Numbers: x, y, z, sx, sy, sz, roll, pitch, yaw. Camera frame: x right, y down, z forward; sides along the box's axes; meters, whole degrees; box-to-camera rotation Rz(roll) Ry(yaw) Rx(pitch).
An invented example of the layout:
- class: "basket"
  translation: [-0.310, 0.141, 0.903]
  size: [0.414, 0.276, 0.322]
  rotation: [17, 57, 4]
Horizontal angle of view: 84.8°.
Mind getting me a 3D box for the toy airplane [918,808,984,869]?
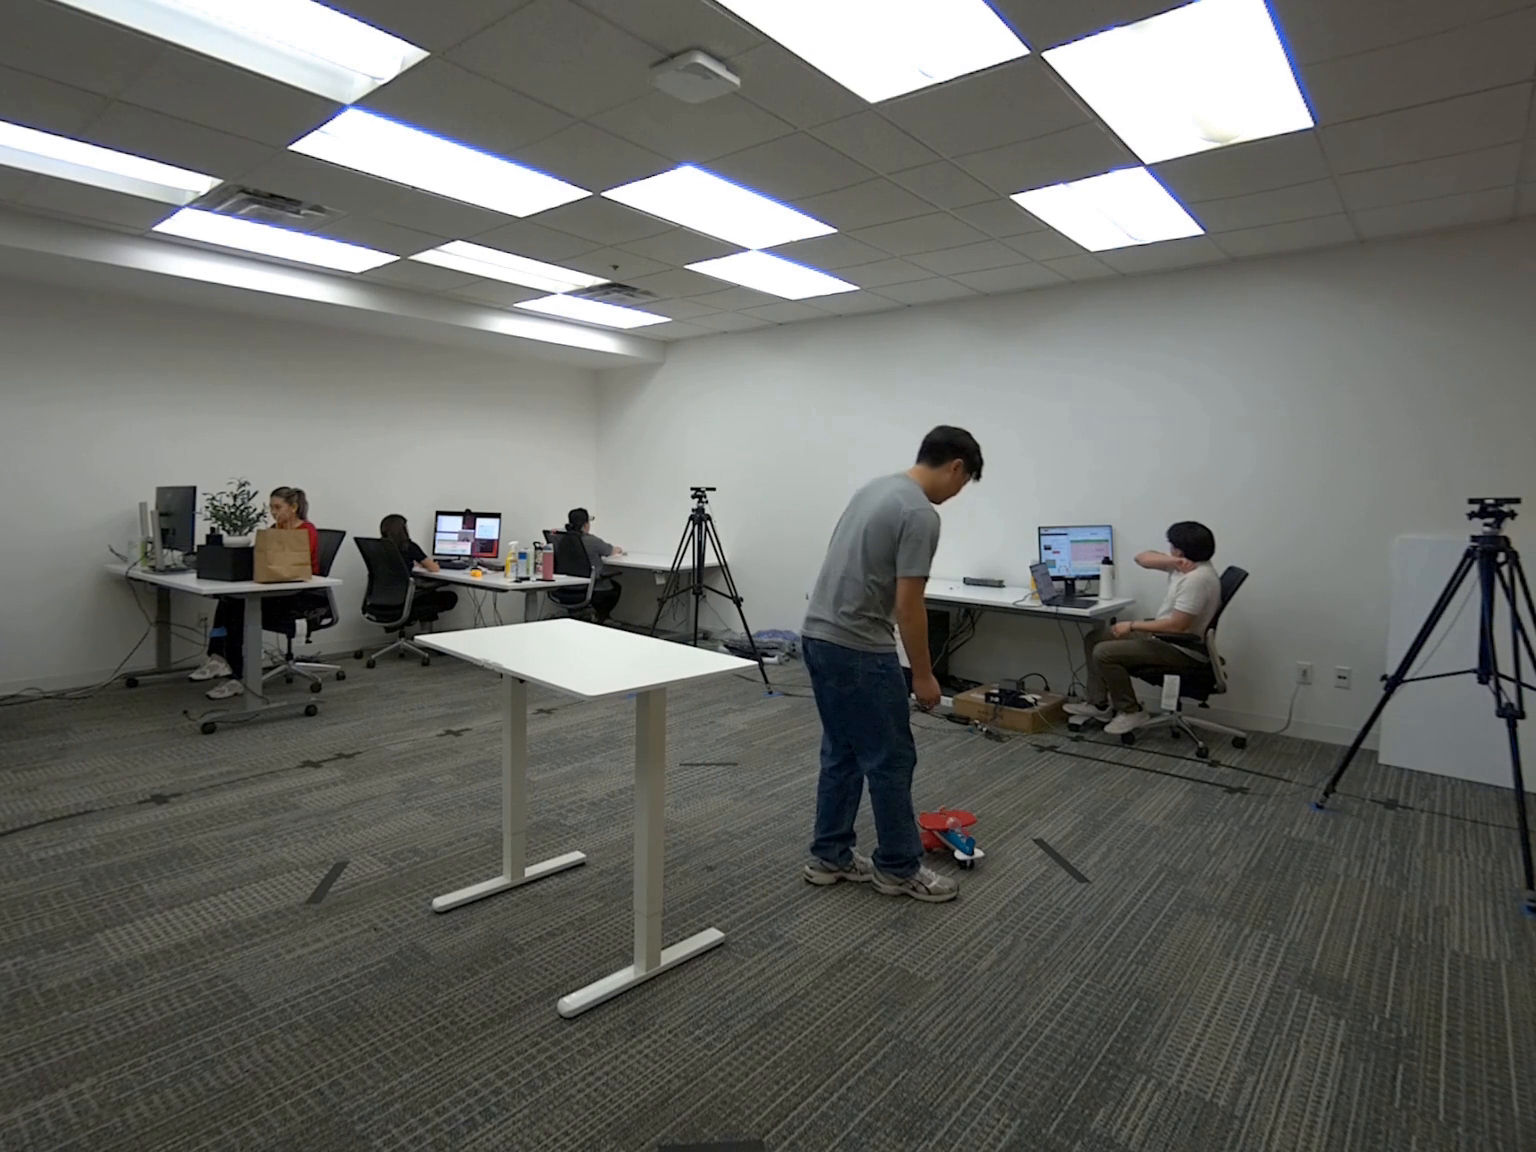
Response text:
- class: "toy airplane"
  translation: [0.712, 0.997, 3.256]
  size: [0.268, 0.156, 0.244]
  rotation: [5, 6, 36]
